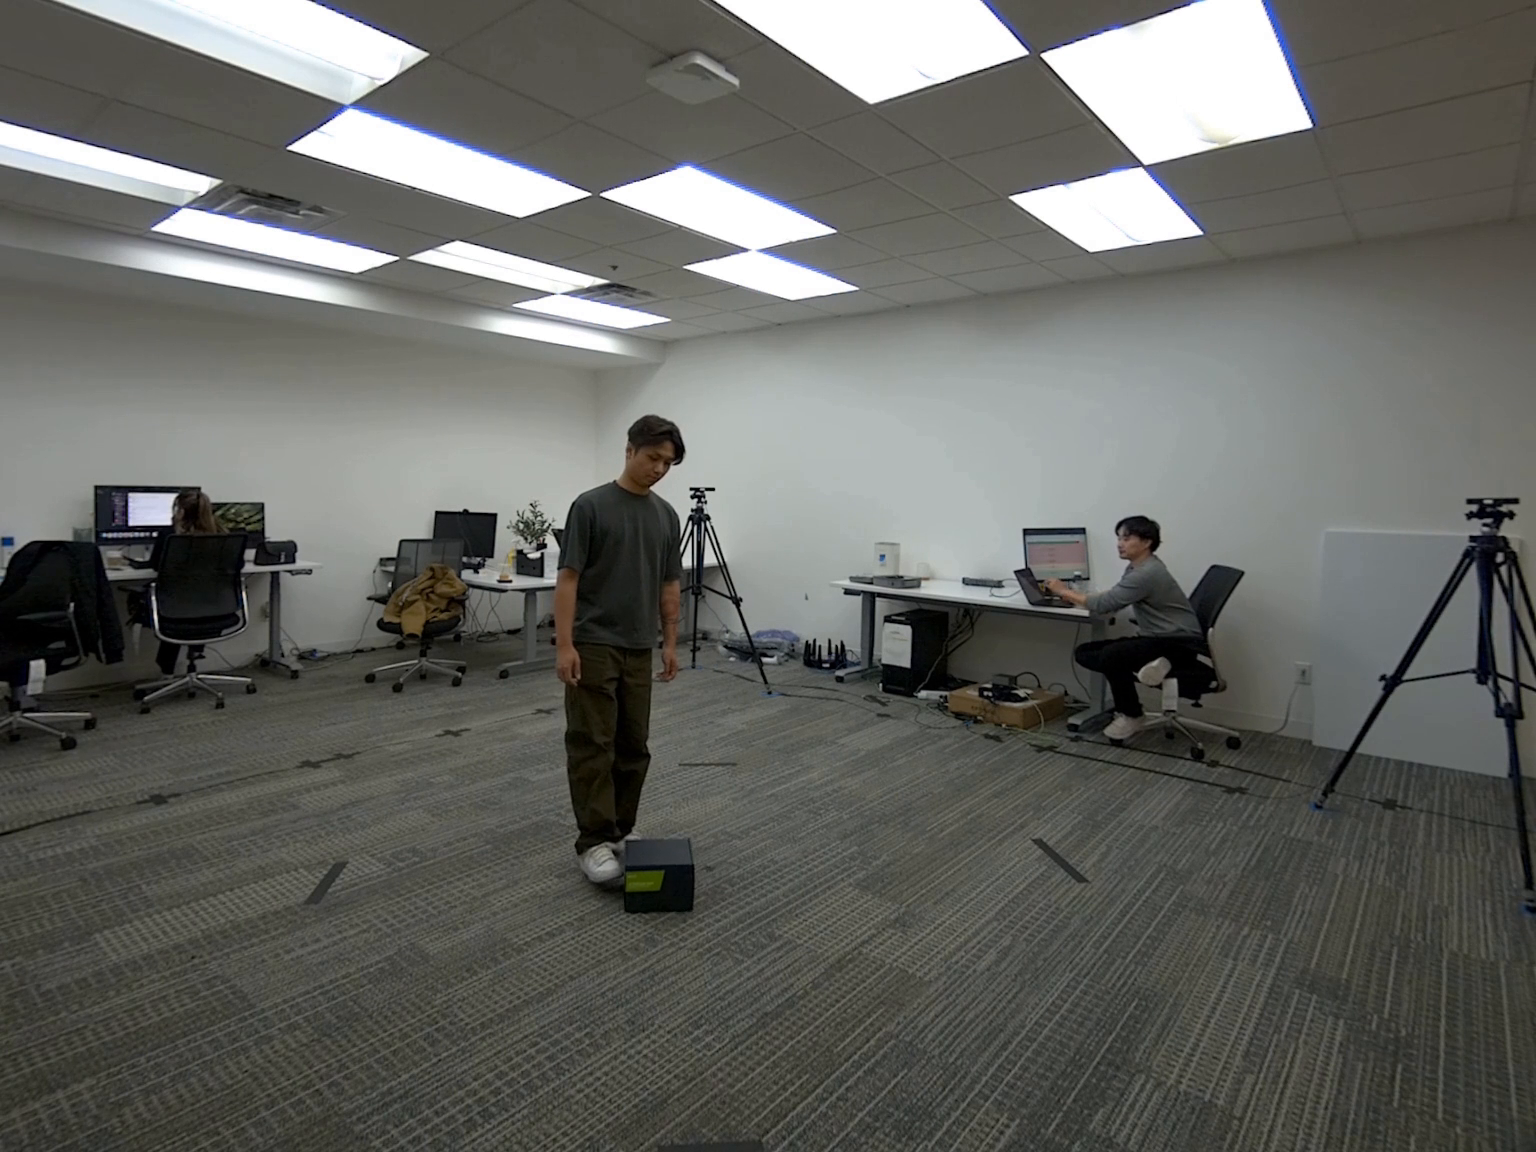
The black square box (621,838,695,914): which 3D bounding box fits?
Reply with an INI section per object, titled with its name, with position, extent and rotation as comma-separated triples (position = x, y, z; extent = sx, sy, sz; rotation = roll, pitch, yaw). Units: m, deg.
[black square box]
position = -0.380, 1.001, 2.875
extent = 0.226, 0.155, 0.219
rotation = 1, 4, -8
